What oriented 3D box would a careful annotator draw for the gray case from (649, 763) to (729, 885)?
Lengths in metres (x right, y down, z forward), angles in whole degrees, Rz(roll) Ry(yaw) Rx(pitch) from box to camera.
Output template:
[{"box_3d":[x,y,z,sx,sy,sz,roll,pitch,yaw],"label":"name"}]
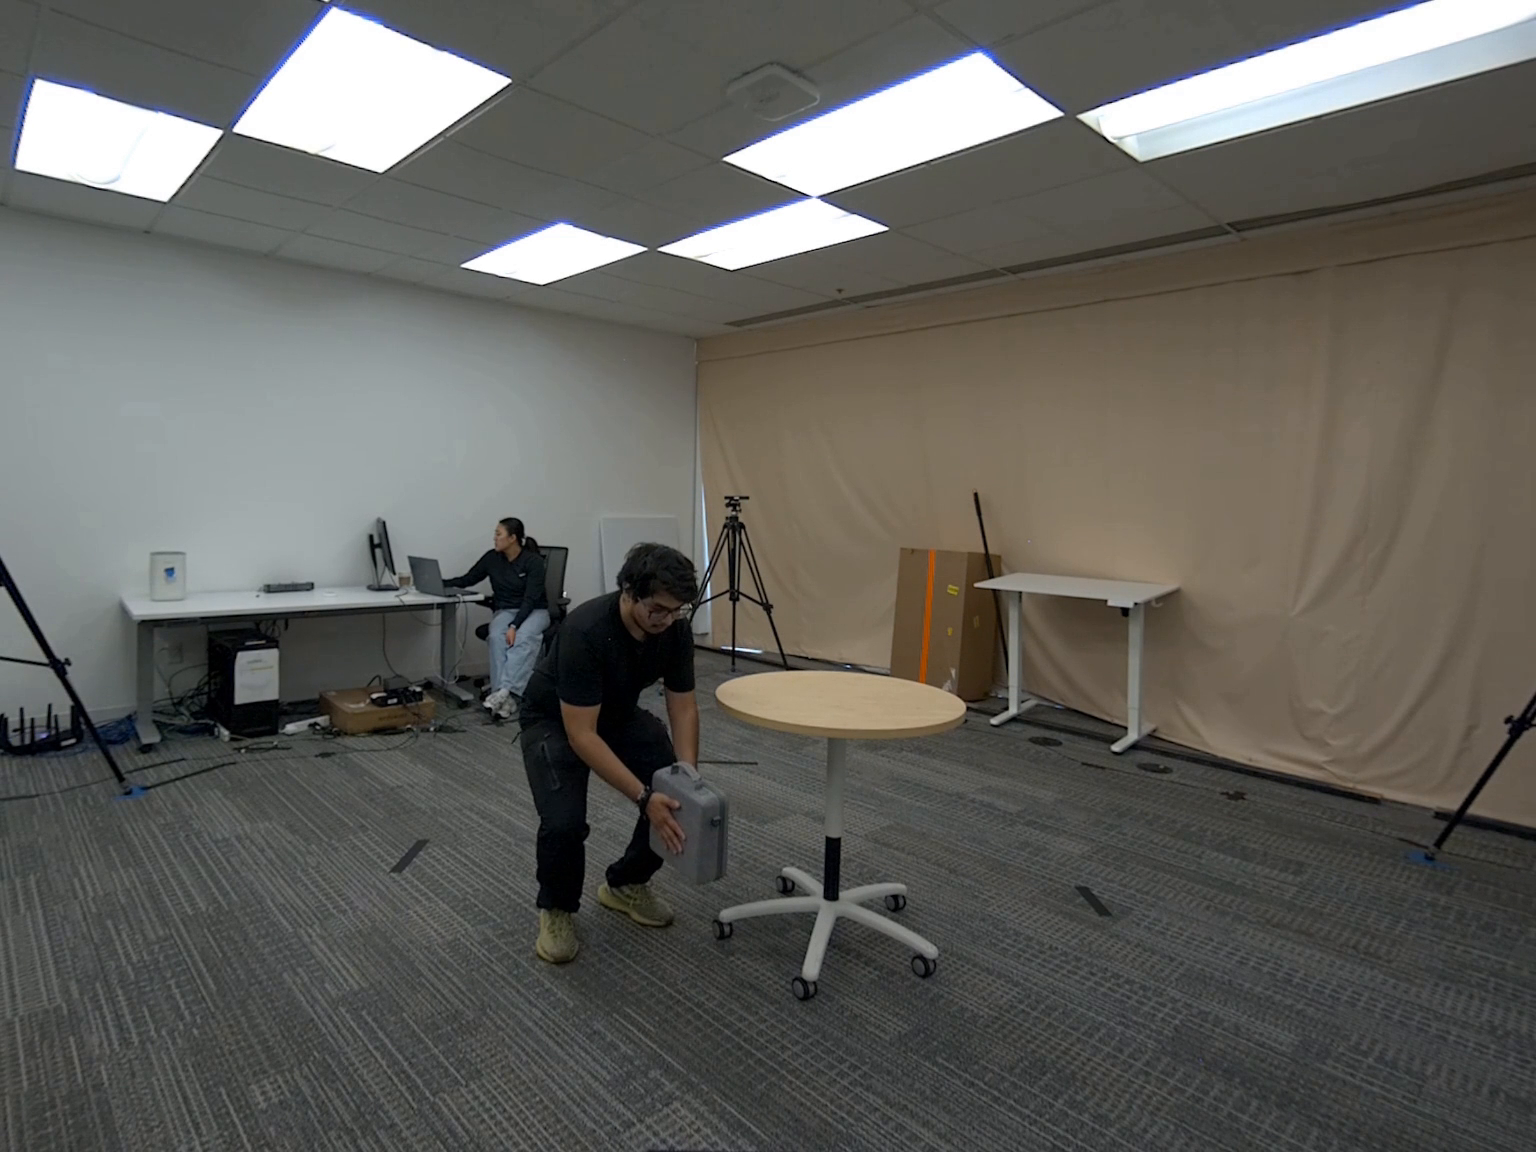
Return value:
[{"box_3d":[-0.230,0.687,2.323,0.102,0.259,0.264,-1,10,-40],"label":"gray case"}]
